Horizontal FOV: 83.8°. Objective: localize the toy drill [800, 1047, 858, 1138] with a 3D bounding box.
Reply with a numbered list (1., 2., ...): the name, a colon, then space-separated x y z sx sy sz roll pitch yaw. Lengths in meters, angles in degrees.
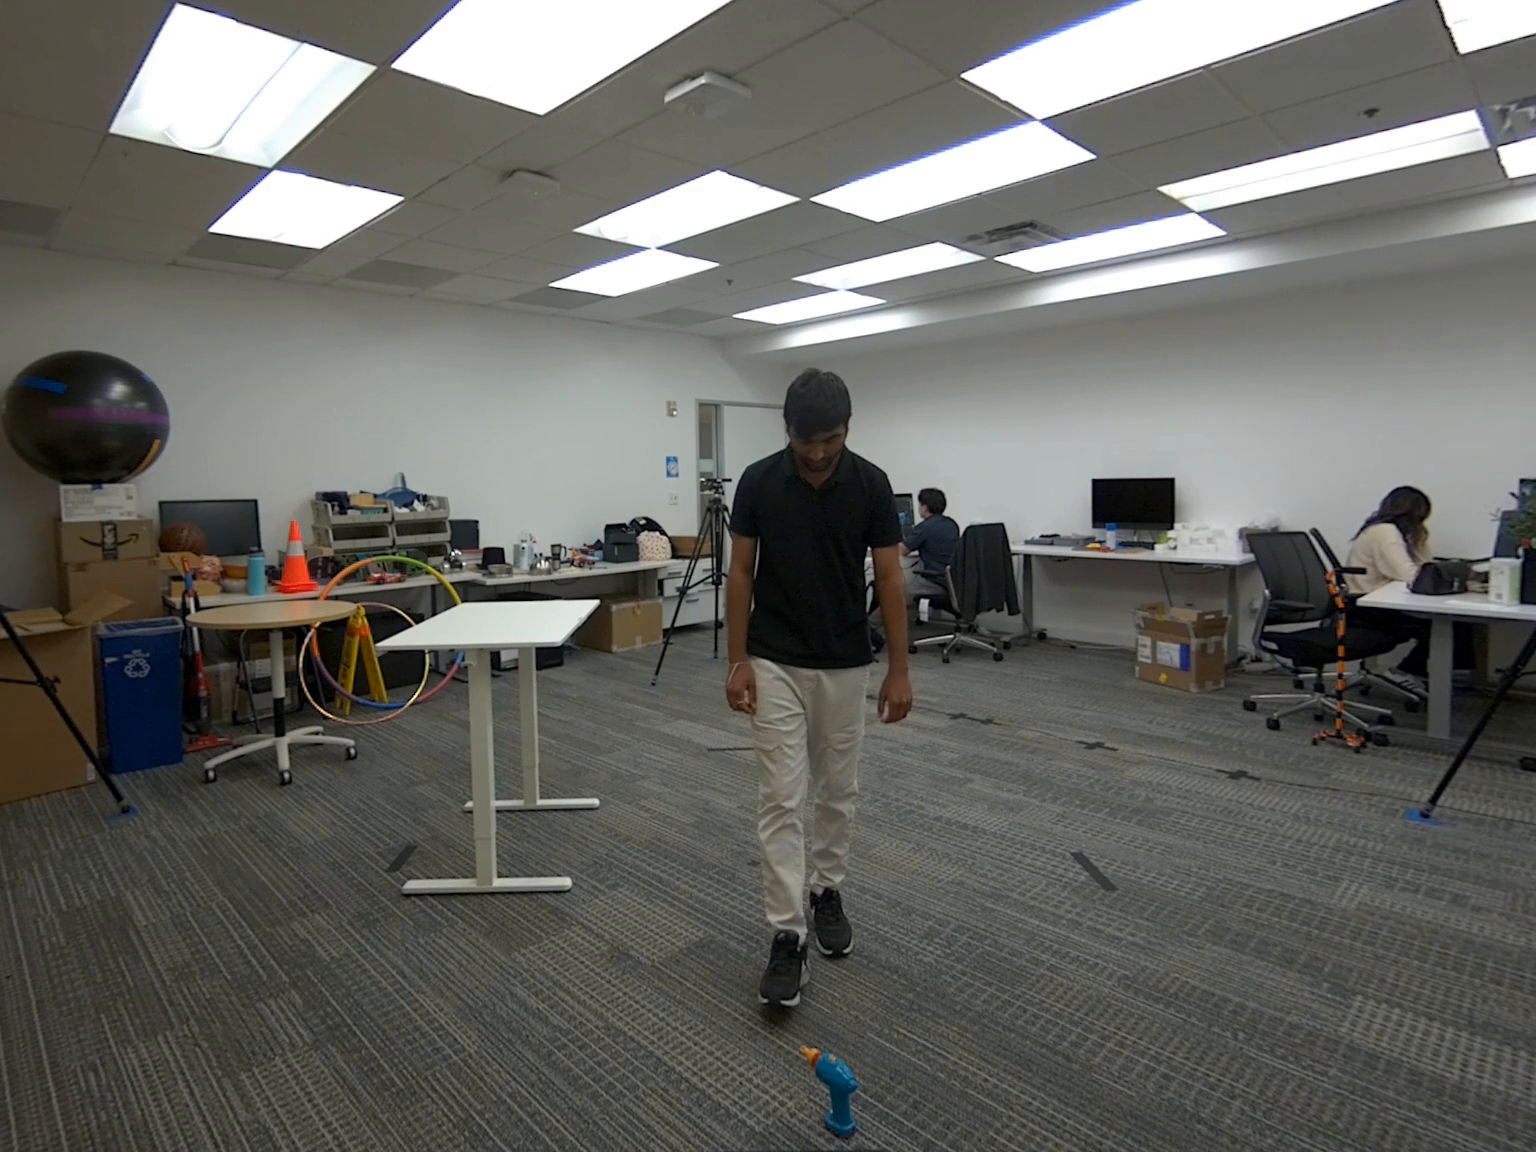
1. toy drill: 0.141 1.121 1.861 0.059 0.145 0.175 -2 7 -37
